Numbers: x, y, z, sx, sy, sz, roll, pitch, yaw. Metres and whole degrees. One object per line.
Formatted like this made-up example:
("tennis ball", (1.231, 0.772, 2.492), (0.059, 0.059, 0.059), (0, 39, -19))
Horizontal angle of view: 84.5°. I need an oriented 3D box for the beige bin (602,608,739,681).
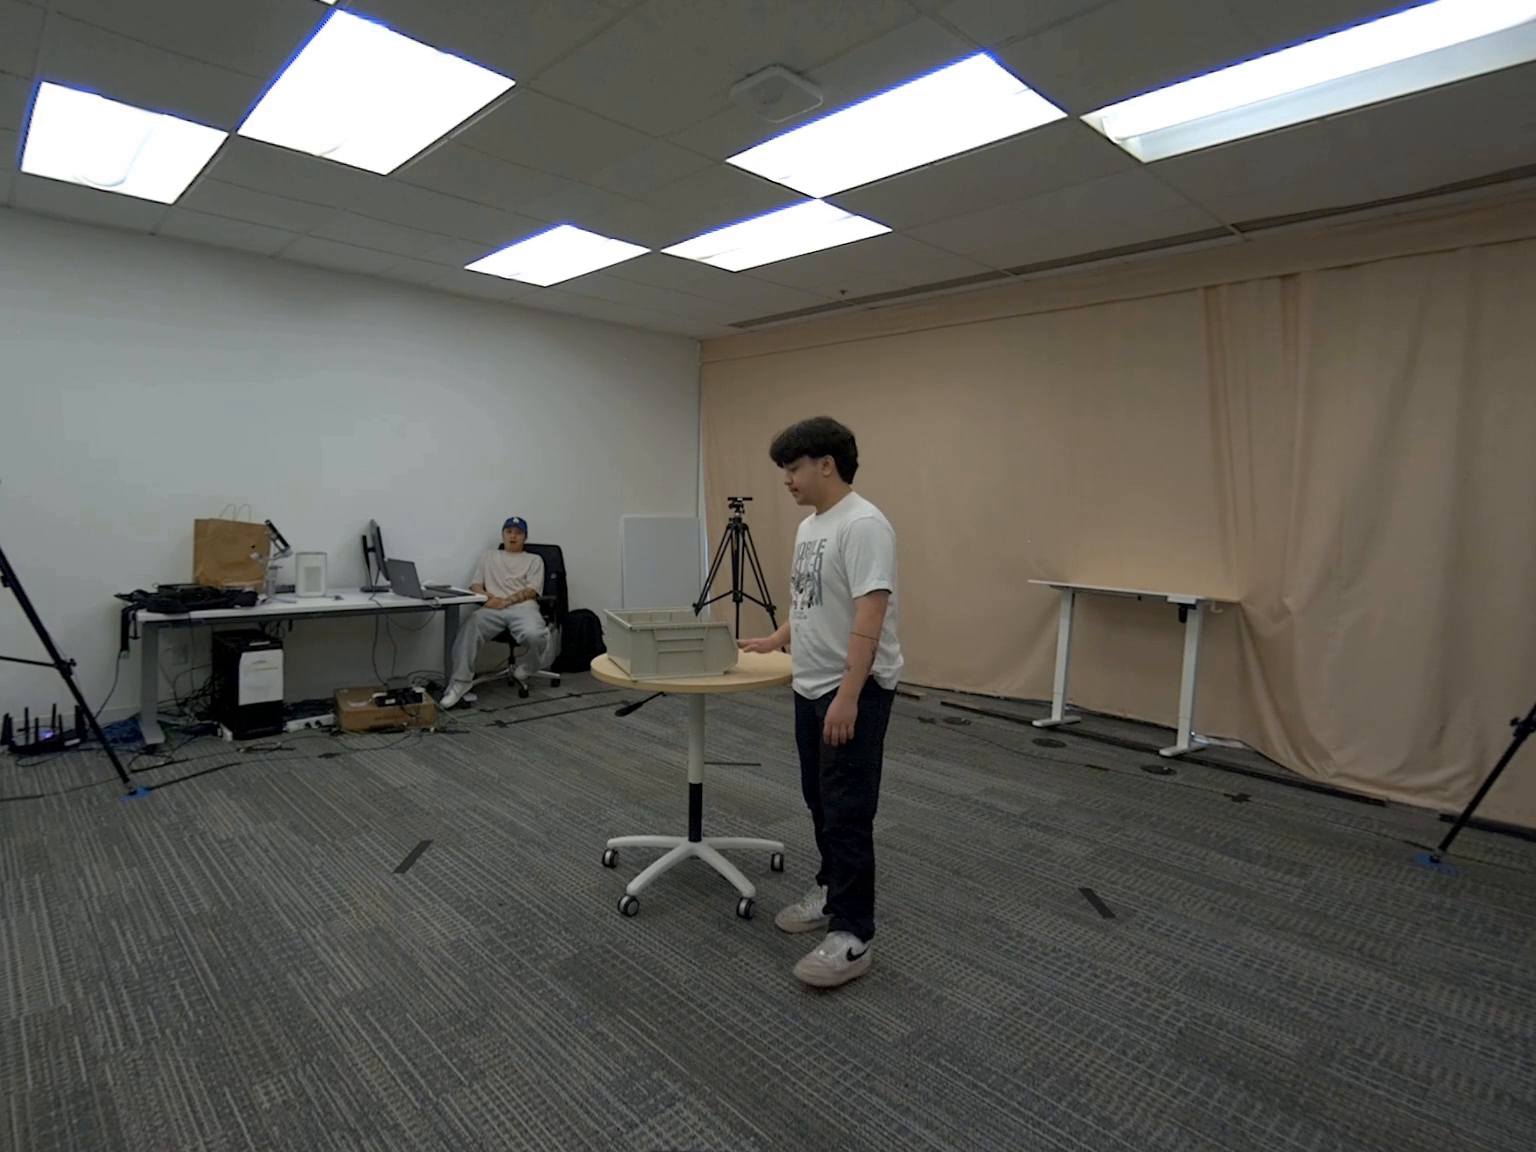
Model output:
("beige bin", (-0.357, 0.233, 2.956), (0.372, 0.188, 0.430), (-1, 6, -20))
